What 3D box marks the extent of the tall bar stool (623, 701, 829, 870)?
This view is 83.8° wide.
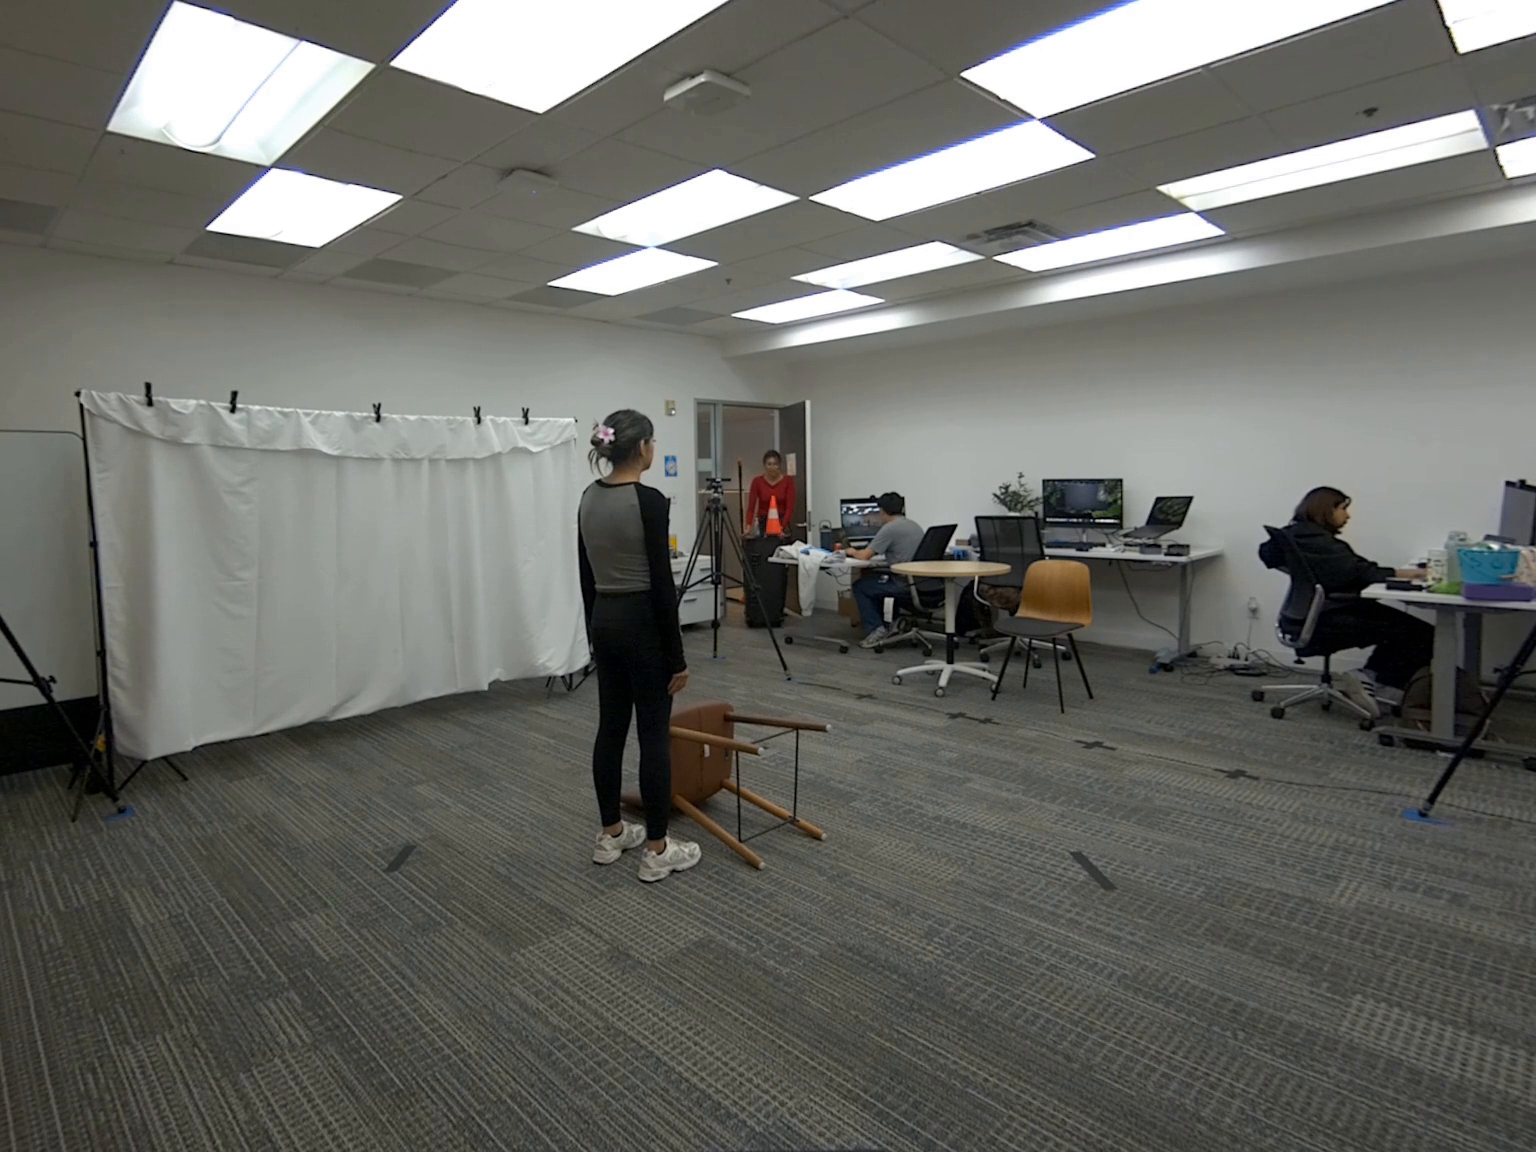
[{"bbox_3d":[-0.217,0.775,3.463,0.917,0.466,0.444,4,7,45],"label":"tall bar stool"}]
